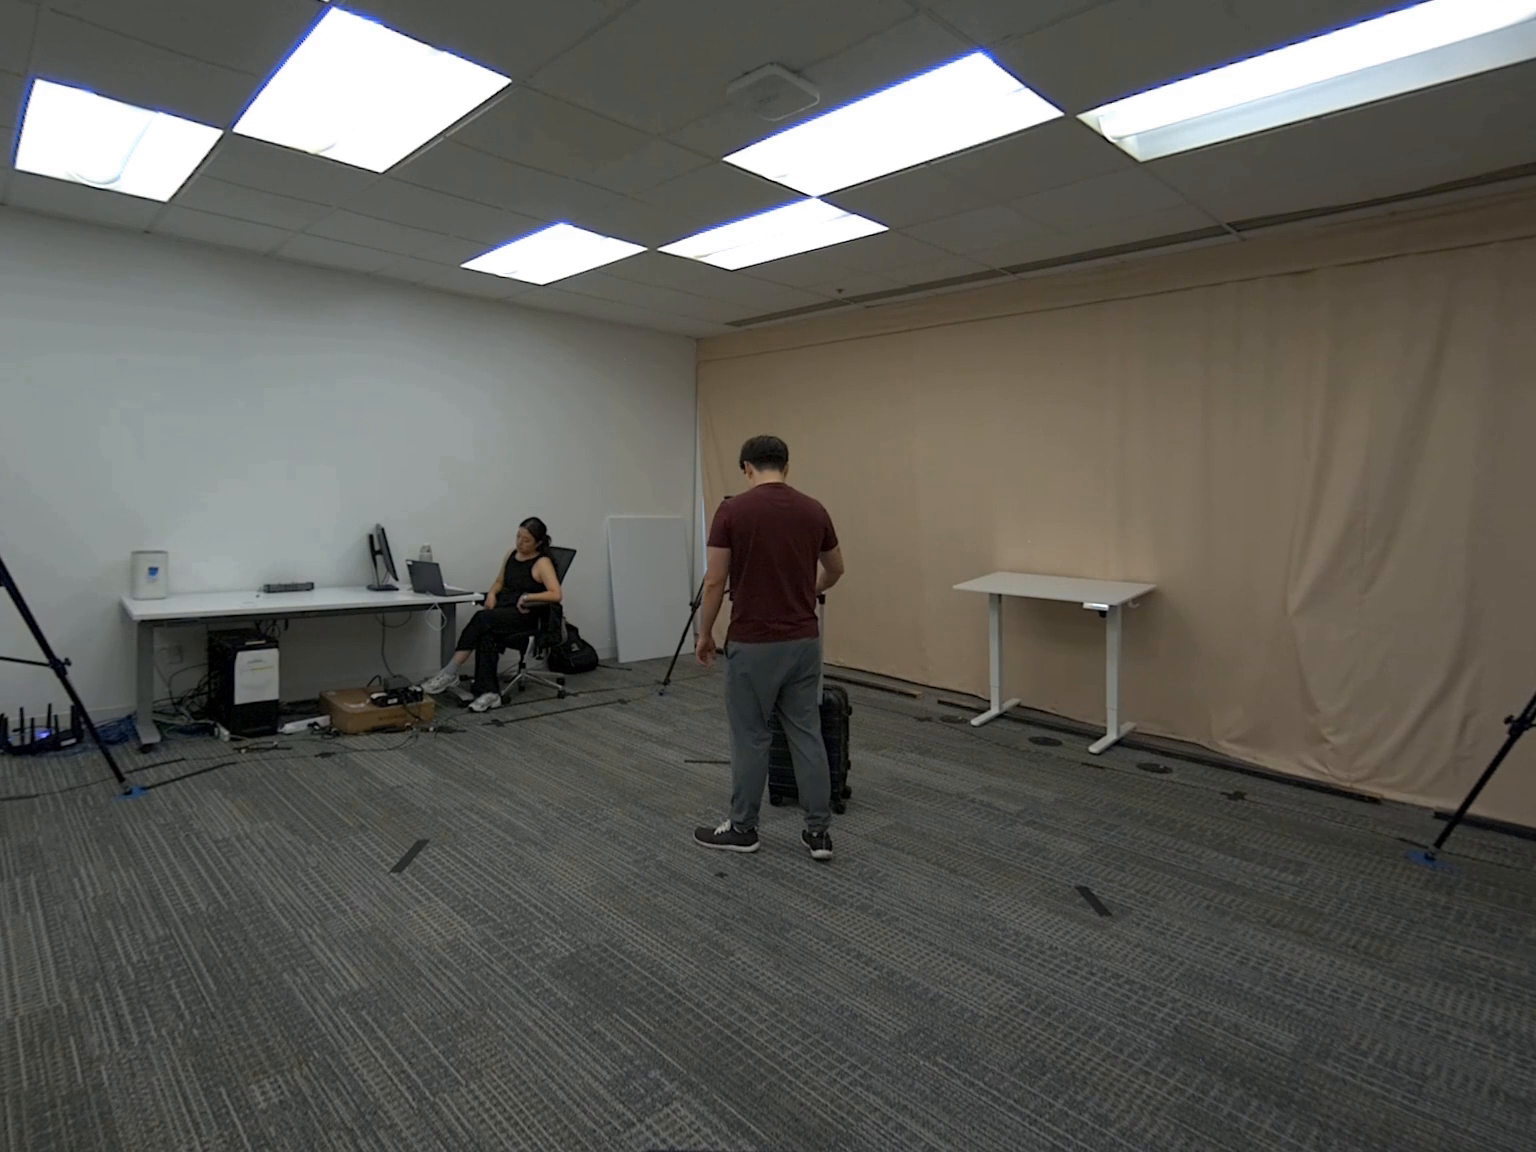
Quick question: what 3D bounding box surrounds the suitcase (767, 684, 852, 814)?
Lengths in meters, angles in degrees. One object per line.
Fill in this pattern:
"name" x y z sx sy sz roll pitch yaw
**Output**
"suitcase" 0.186 0.568 3.894 0.388 0.978 0.254 1 1 13
